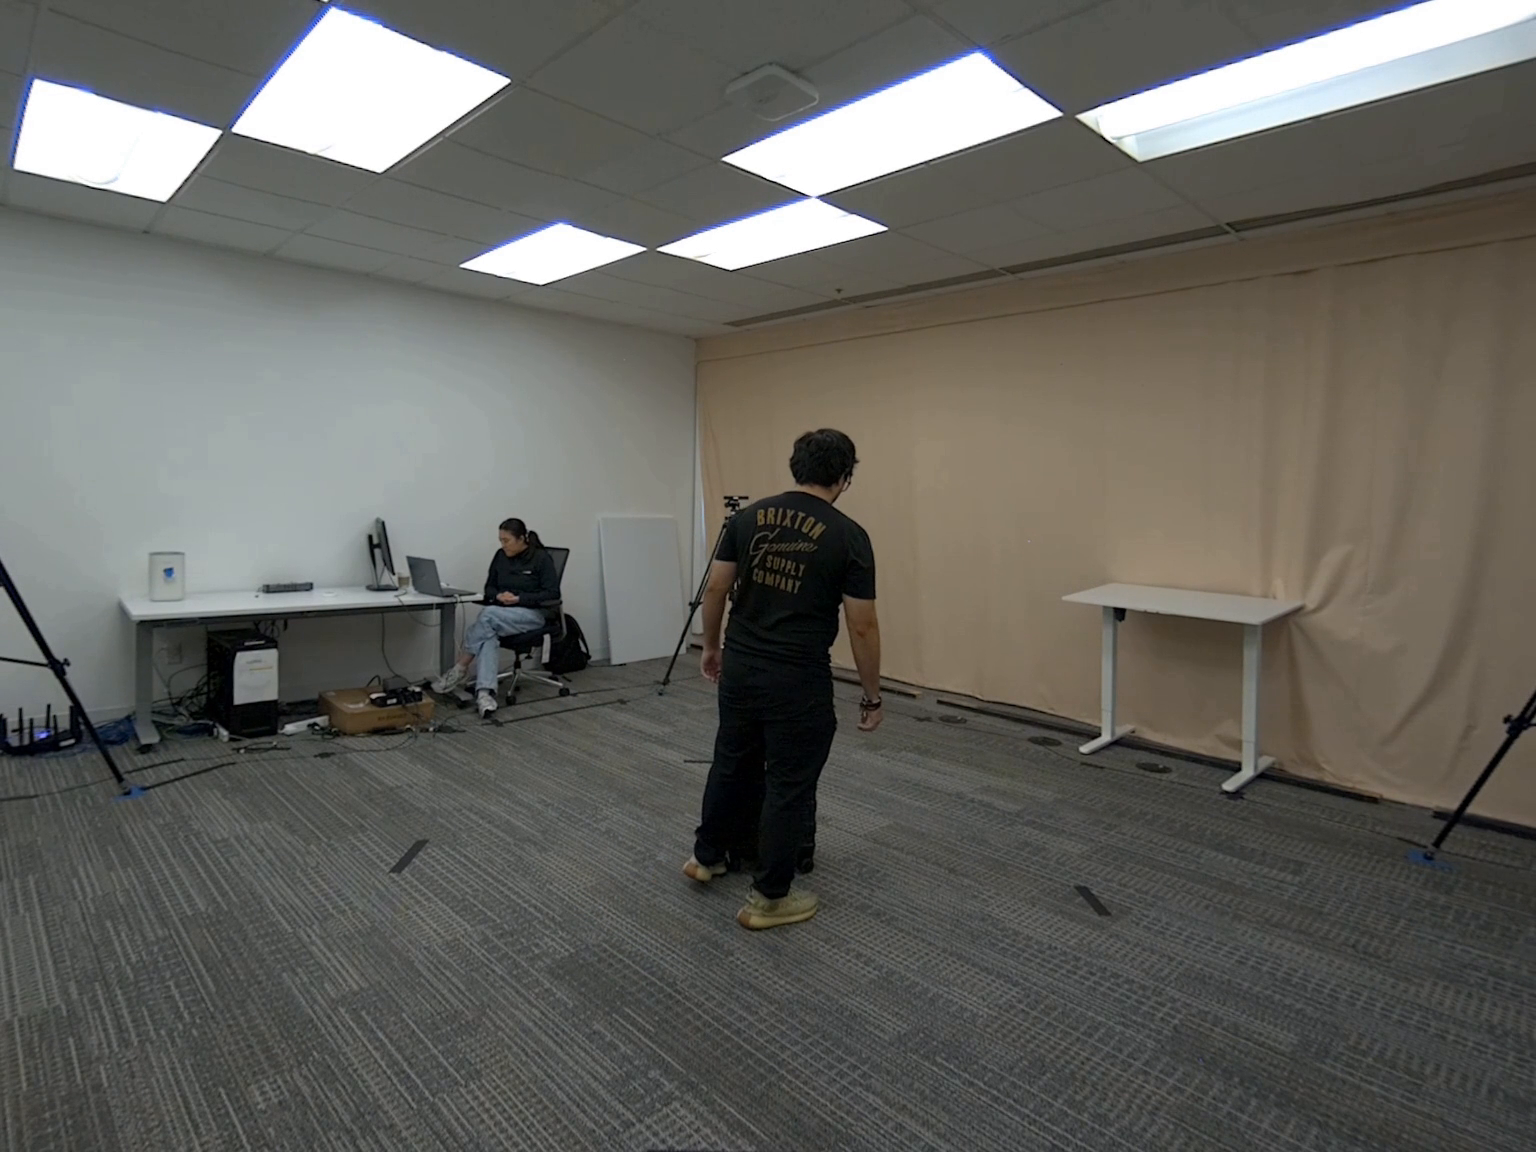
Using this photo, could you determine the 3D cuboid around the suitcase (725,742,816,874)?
[{"bbox_3d":[0.006,0.619,3.208,0.382,0.976,0.259,2,3,-7],"label":"suitcase"}]
